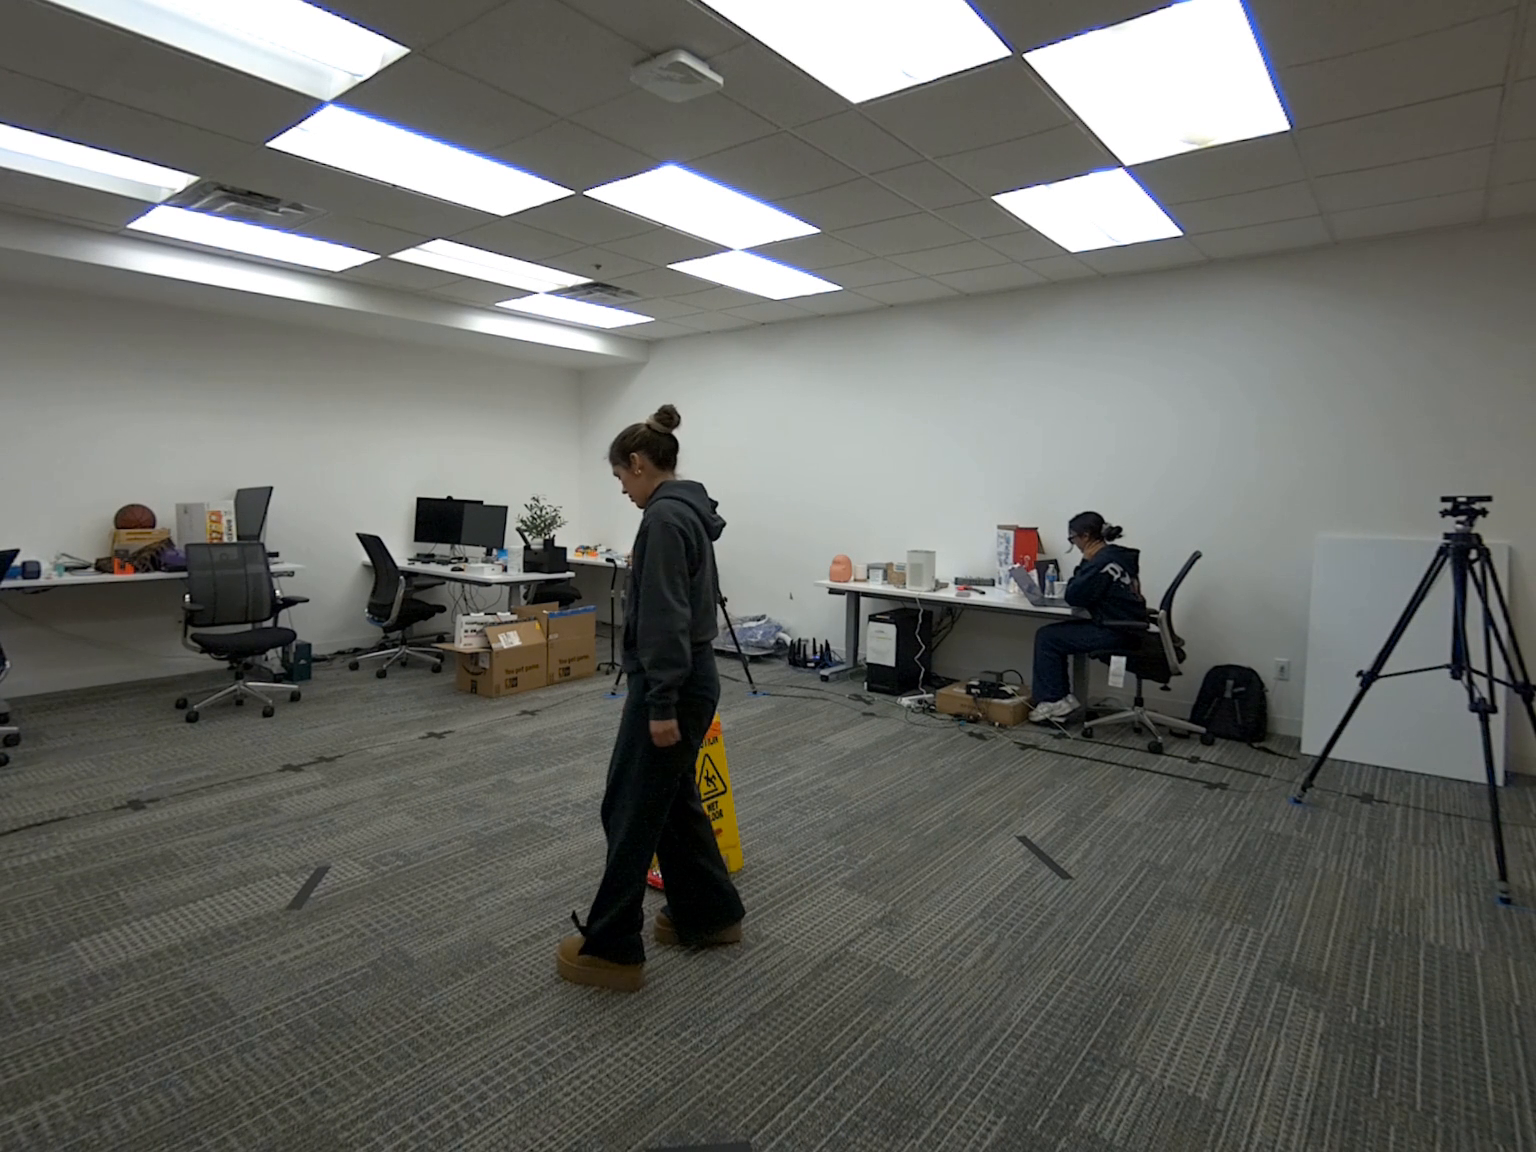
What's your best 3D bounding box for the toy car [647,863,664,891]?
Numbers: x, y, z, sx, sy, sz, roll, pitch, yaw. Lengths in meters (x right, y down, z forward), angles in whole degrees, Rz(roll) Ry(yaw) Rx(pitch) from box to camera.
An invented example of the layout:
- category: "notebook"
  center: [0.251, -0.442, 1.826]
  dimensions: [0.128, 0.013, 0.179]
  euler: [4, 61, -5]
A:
- category: "toy car"
  center: [-0.335, 1.028, 3.021]
  dimensions: [0.134, 0.082, 0.249]
  euler: [3, 16, 39]
